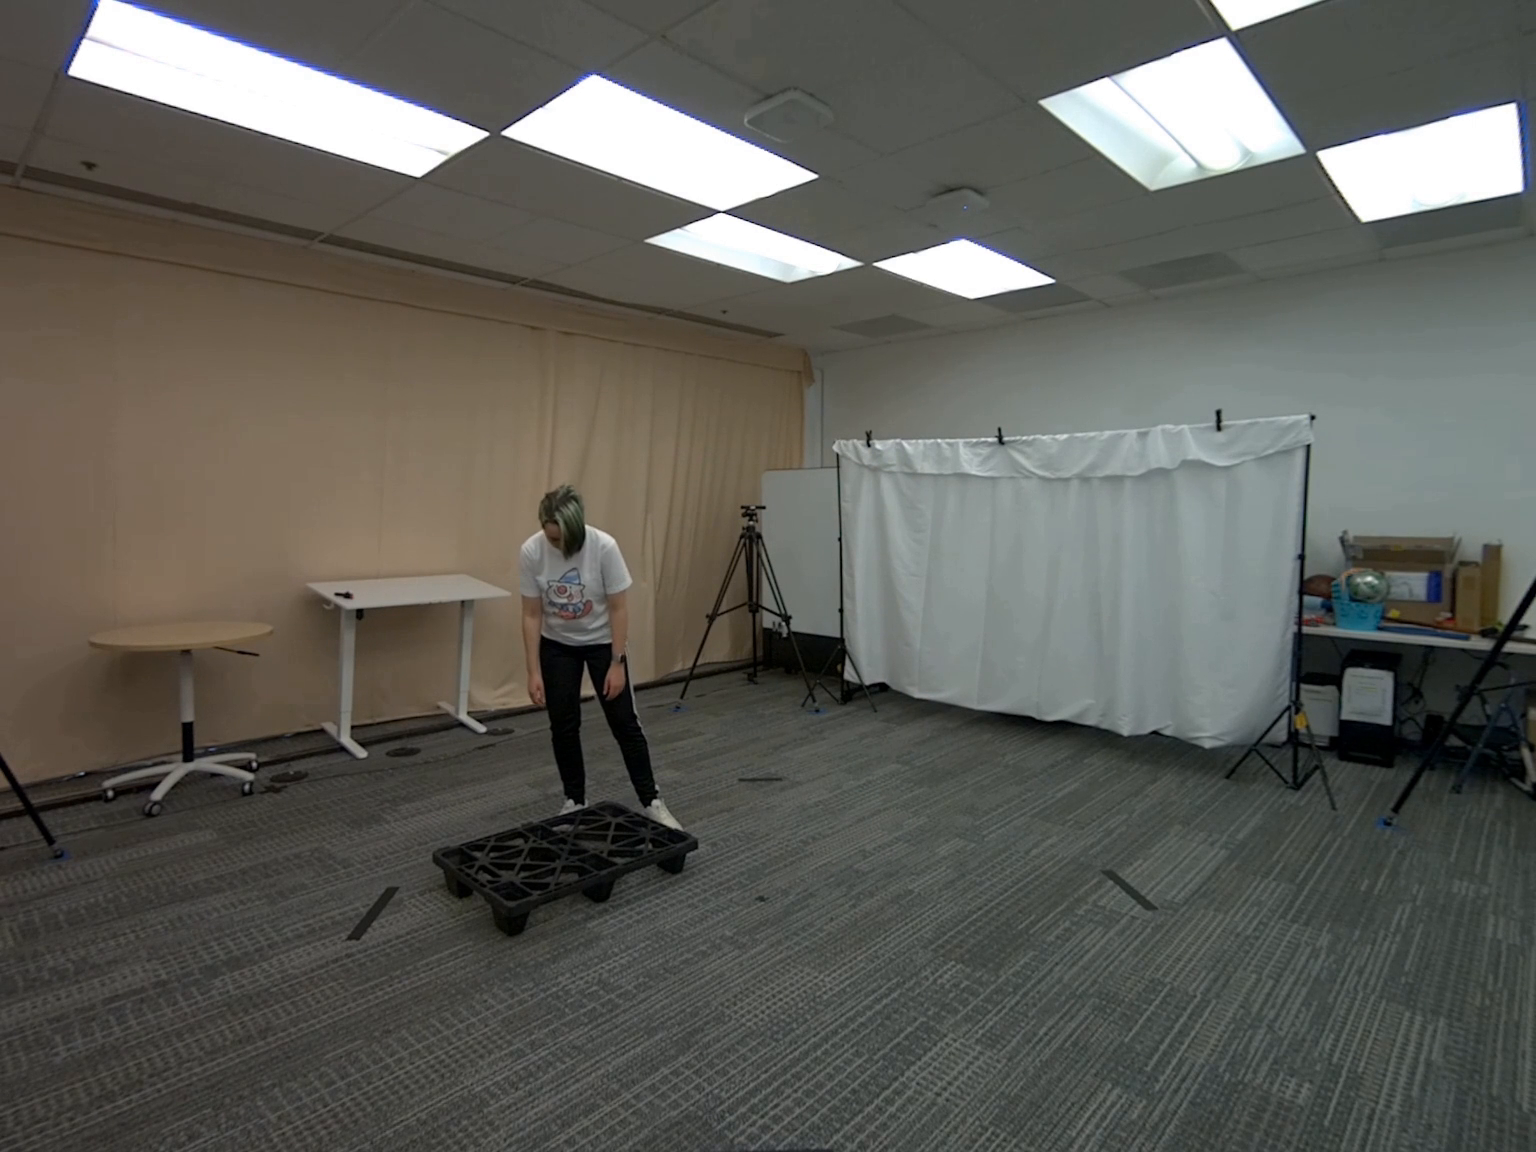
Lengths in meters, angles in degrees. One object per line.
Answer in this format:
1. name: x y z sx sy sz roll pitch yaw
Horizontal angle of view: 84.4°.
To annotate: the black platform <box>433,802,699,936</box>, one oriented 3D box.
1. black platform: -0.745 1.071 3.141 0.781 0.143 0.625 -5 7 -43
